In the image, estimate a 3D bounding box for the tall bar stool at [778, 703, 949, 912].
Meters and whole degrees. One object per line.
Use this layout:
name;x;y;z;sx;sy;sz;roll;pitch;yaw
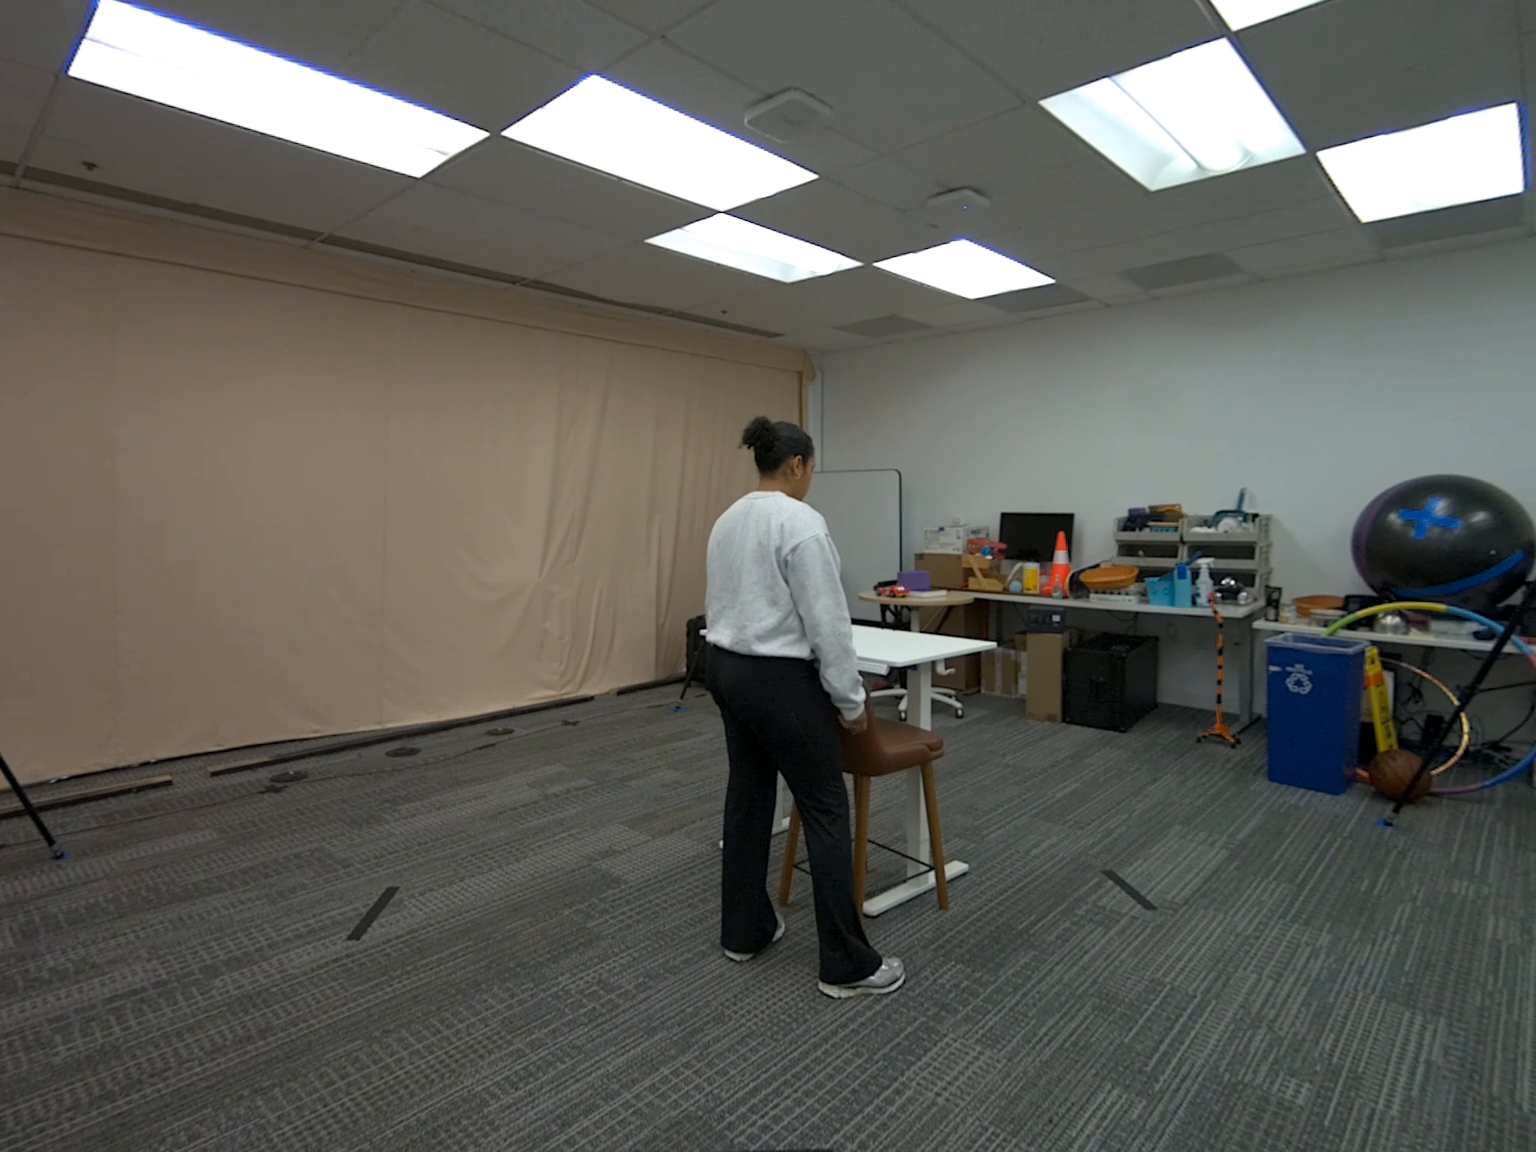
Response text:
tall bar stool;0.310;0.710;2.898;0.454;0.887;0.471;-5;6;-37
